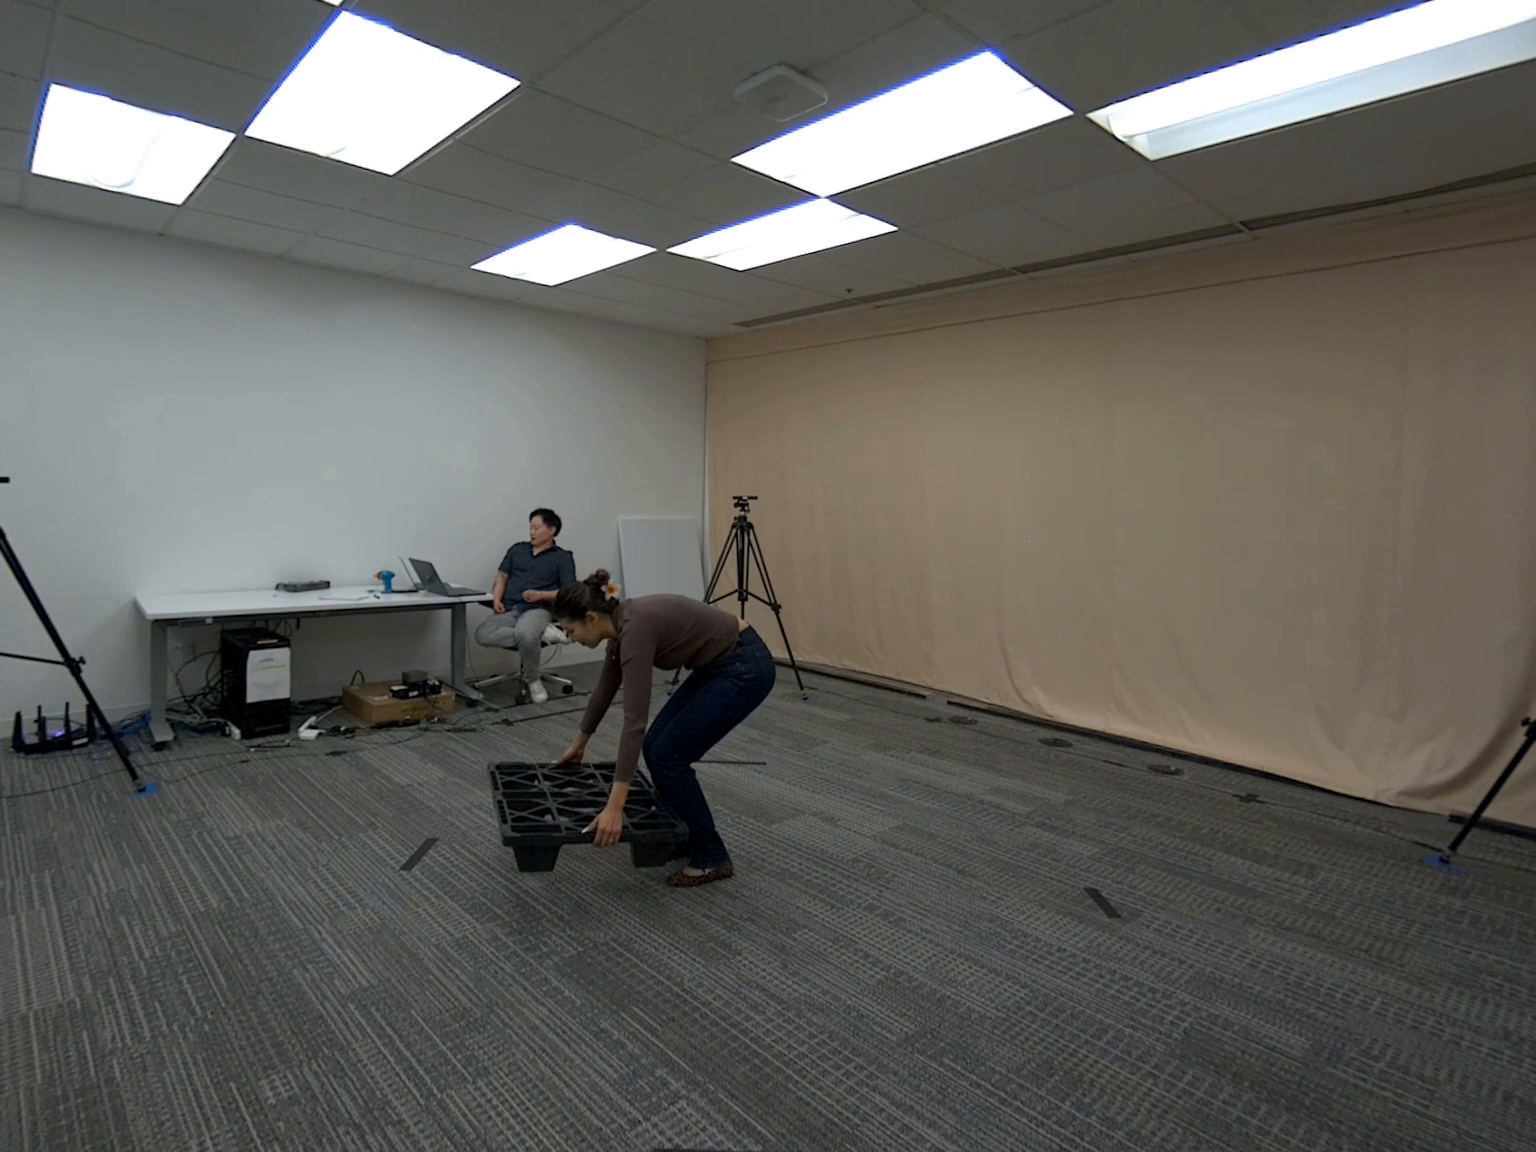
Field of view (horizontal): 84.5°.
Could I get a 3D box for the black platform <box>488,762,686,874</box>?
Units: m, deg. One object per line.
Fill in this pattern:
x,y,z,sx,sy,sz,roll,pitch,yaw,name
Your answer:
-0.694,0.851,3.035,0.595,0.143,0.820,5,2,-22,black platform
